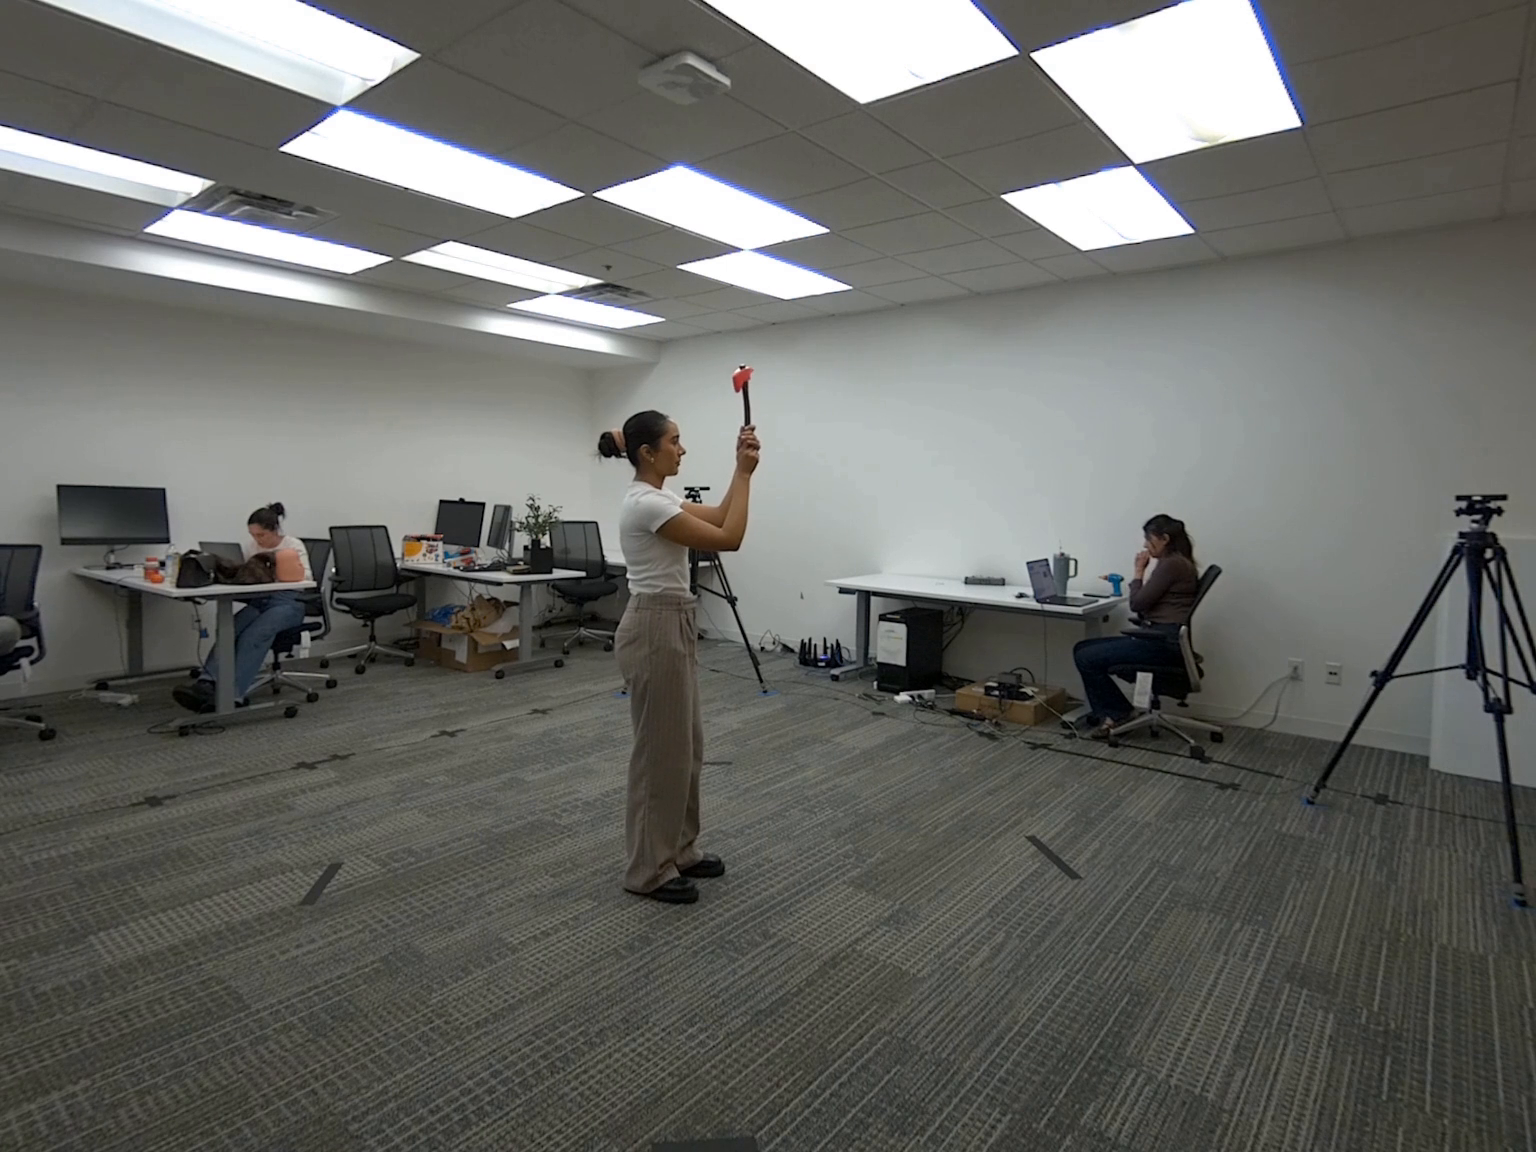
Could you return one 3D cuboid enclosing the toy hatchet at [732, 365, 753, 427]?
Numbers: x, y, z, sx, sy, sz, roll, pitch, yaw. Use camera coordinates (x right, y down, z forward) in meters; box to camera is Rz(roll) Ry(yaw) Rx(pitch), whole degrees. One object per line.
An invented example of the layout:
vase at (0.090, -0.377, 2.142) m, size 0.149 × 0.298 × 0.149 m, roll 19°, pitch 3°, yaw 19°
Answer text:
toy hatchet at (-0.099, -0.569, 2.817) m, size 0.030 × 0.269 × 0.128 m, roll 7°, pitch 6°, yaw 26°
